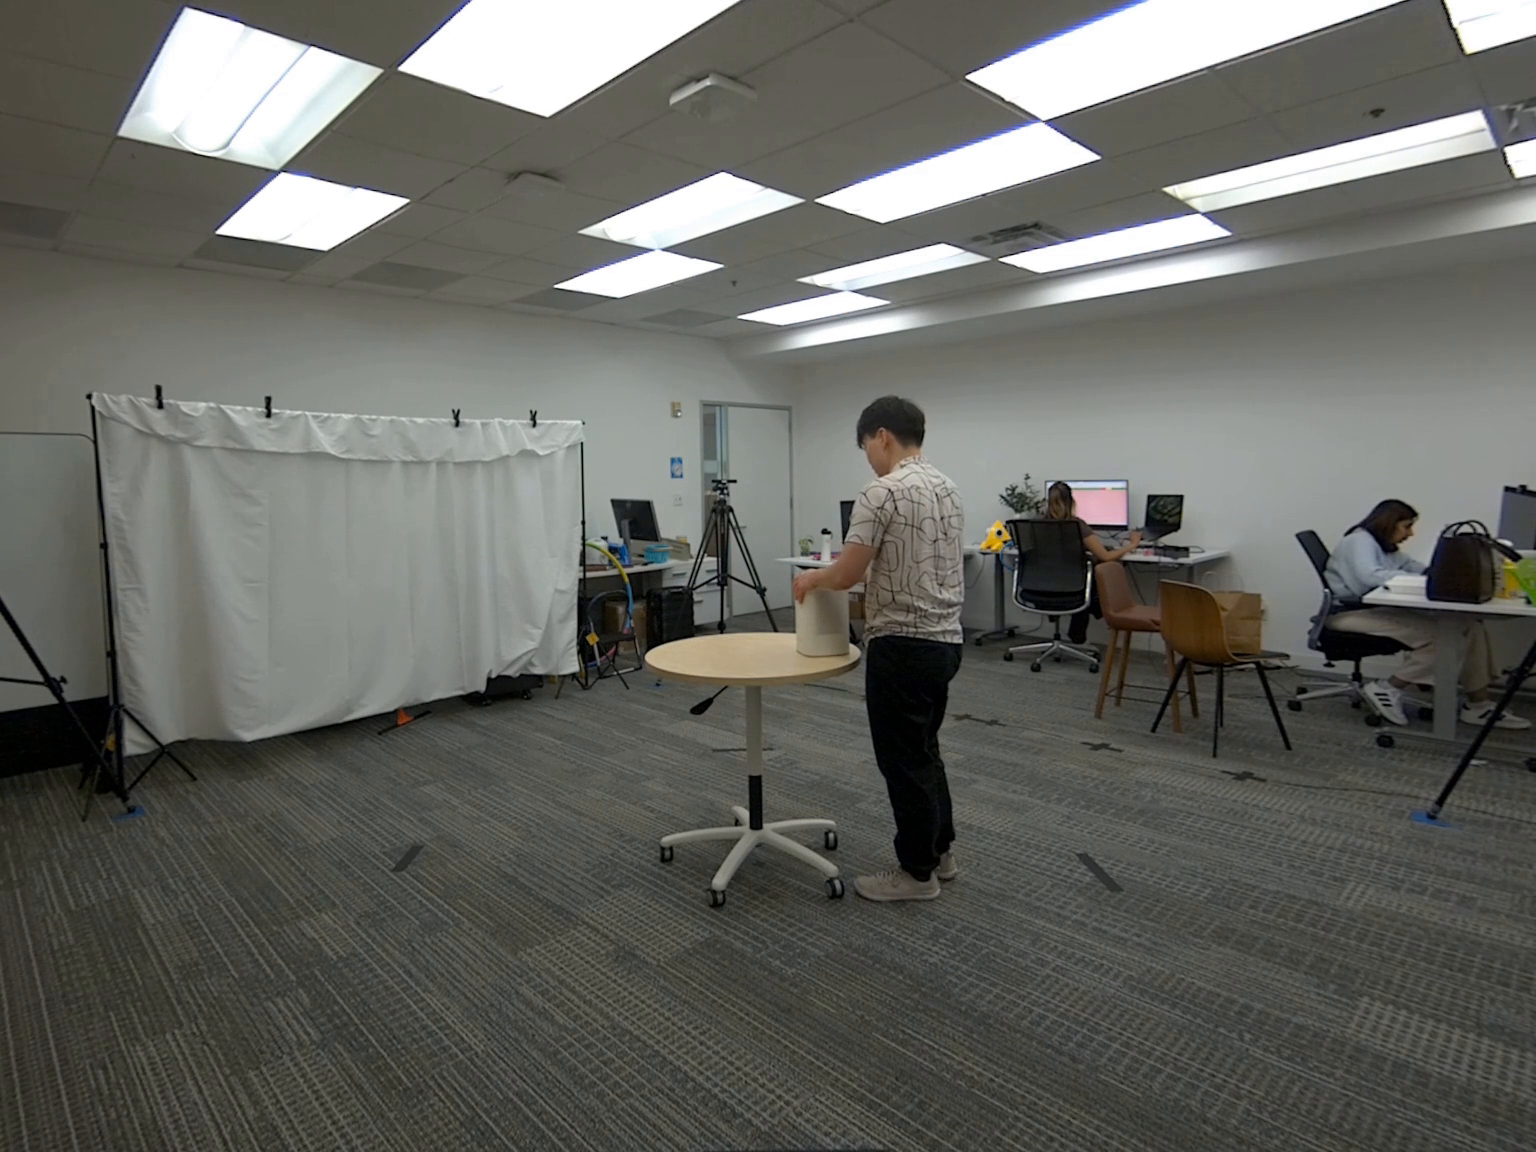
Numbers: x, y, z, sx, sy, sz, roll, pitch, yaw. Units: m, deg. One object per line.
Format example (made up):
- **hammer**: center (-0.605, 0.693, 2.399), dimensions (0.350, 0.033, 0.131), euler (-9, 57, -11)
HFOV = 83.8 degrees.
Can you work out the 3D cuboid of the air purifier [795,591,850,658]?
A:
- **air purifier**: center (0.193, 0.137, 3.019), dimensions (0.170, 0.264, 0.173), euler (-3, 7, -8)
